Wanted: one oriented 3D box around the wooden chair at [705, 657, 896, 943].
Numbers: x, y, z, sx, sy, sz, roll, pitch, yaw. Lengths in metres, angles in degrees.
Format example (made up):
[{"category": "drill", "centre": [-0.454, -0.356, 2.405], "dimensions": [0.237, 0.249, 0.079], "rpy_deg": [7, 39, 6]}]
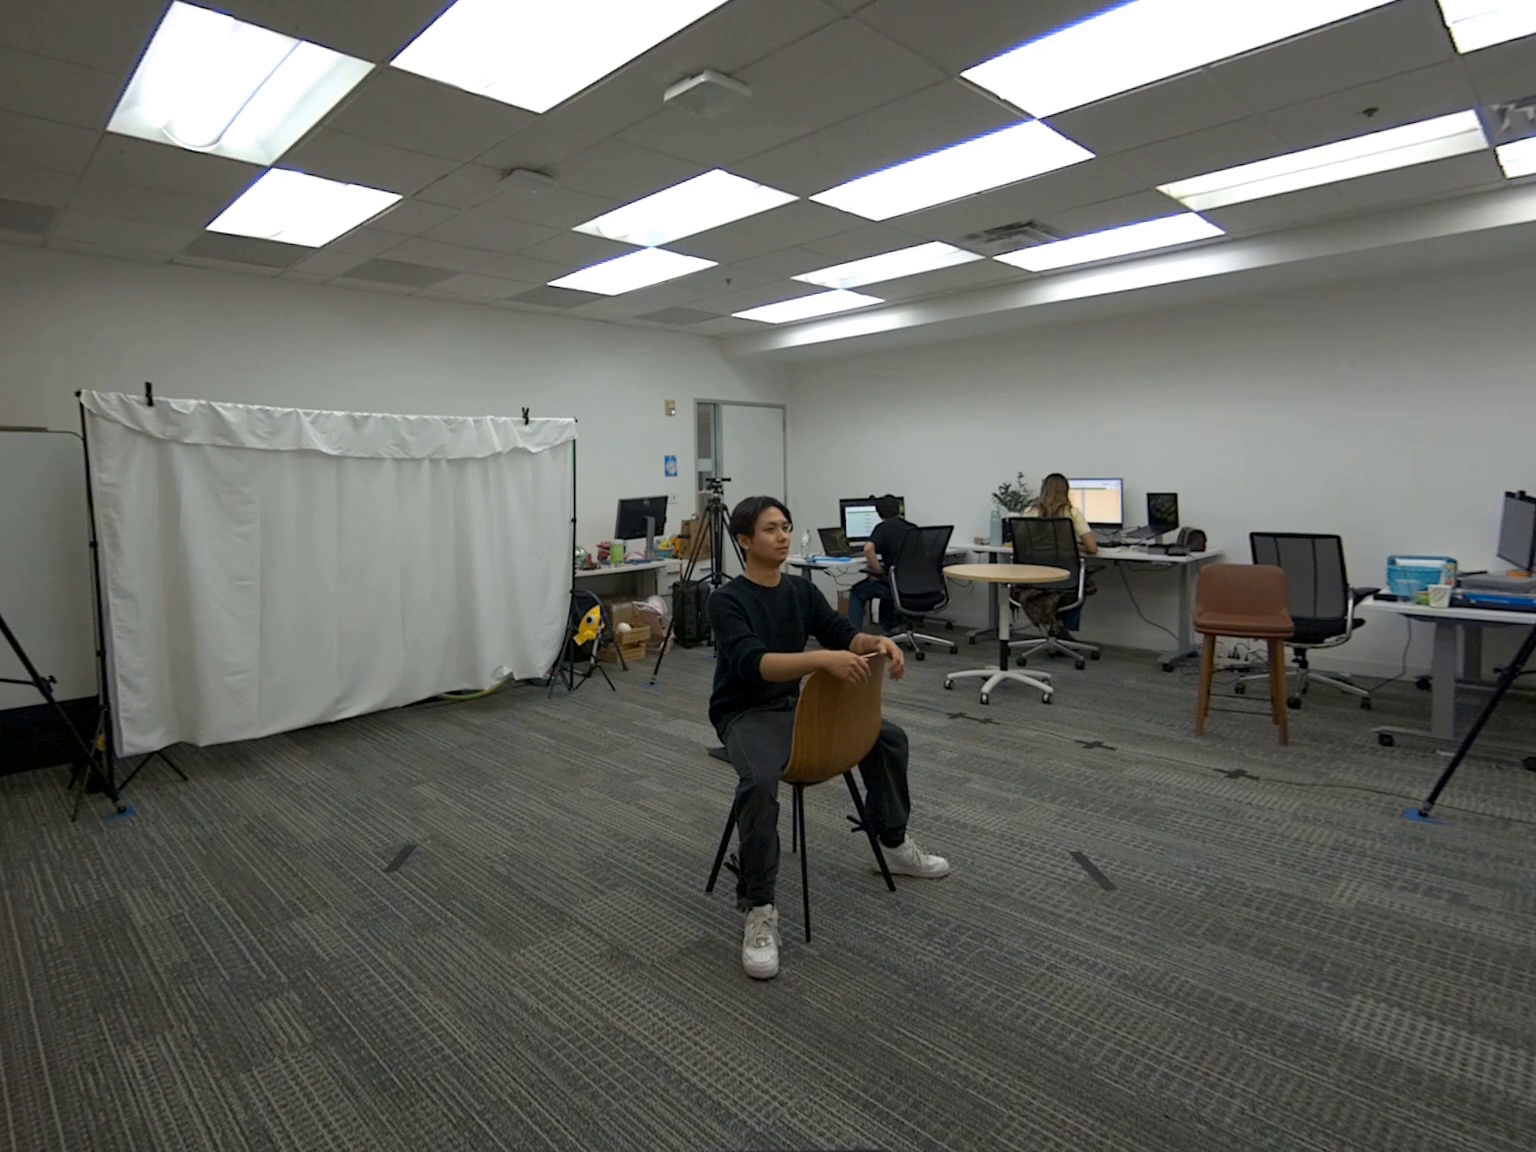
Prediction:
[{"category": "wooden chair", "centre": [0.091, 0.637, 2.863], "dimensions": [0.465, 0.872, 0.540], "rpy_deg": [-5, 10, -44]}]
